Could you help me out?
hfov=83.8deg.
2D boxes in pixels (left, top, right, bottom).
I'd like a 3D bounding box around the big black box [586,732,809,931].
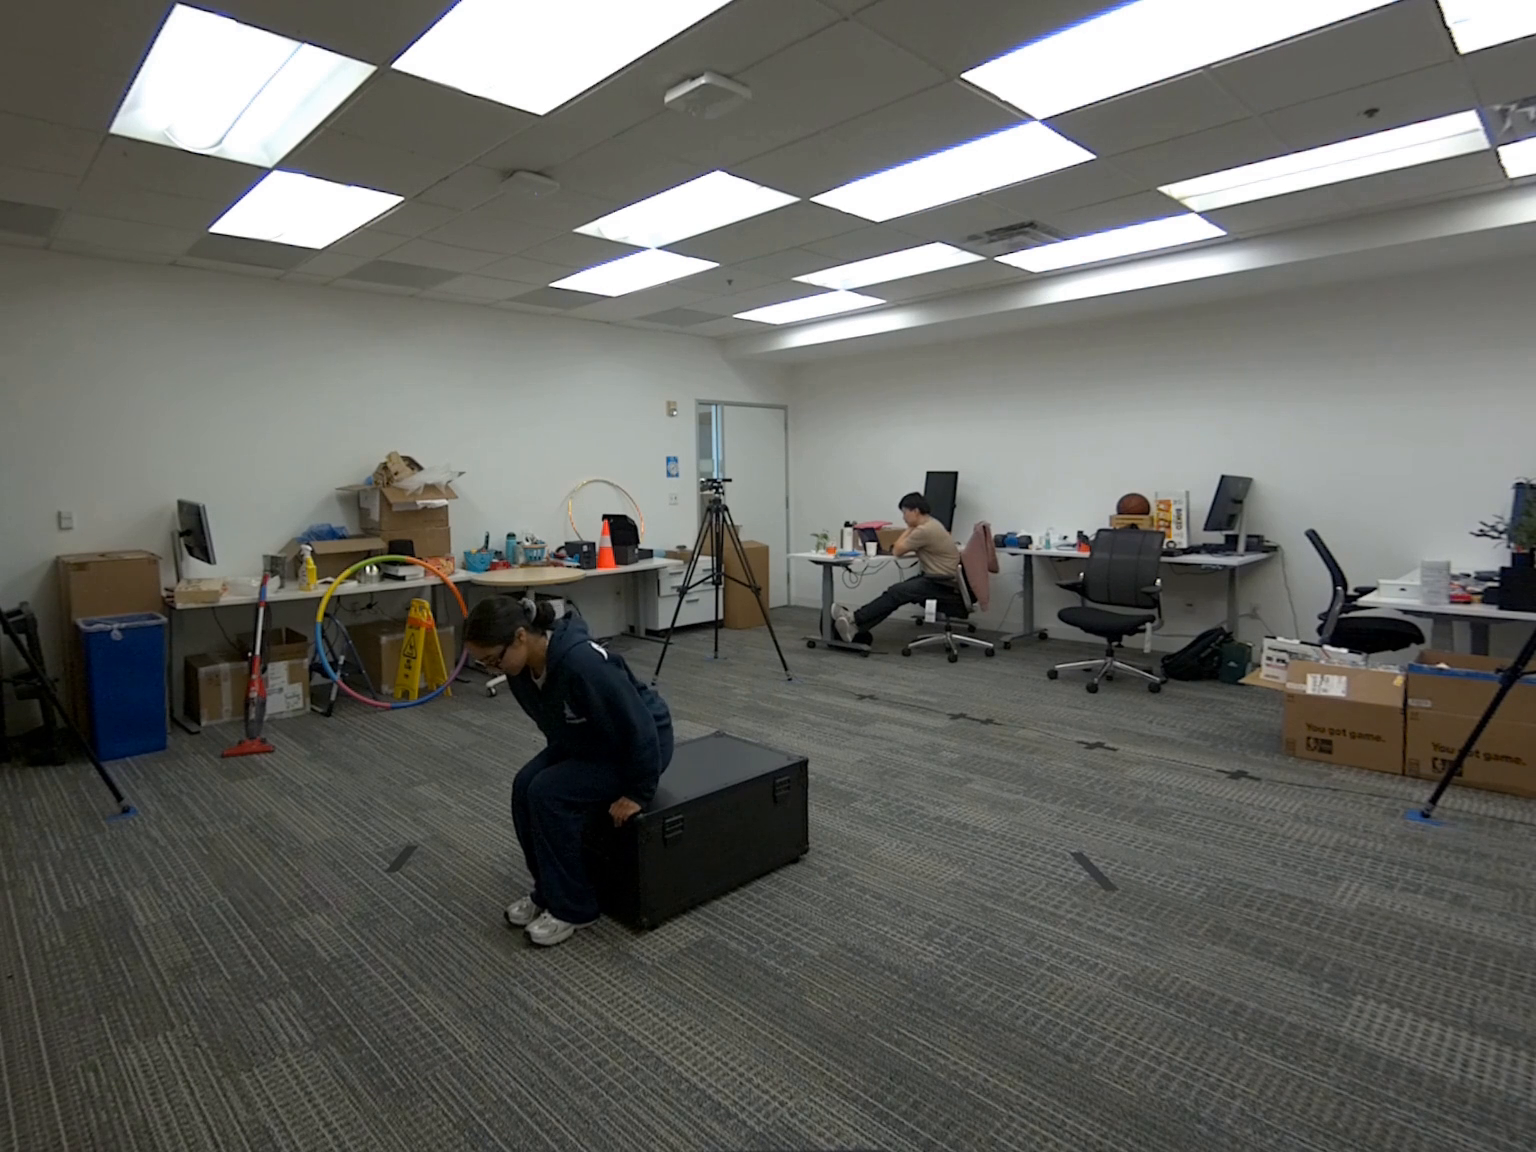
[{"bbox_3d":[-0.264,0.863,3.060,0.840,0.394,0.537,-8,9,-44],"label":"big black box"}]
